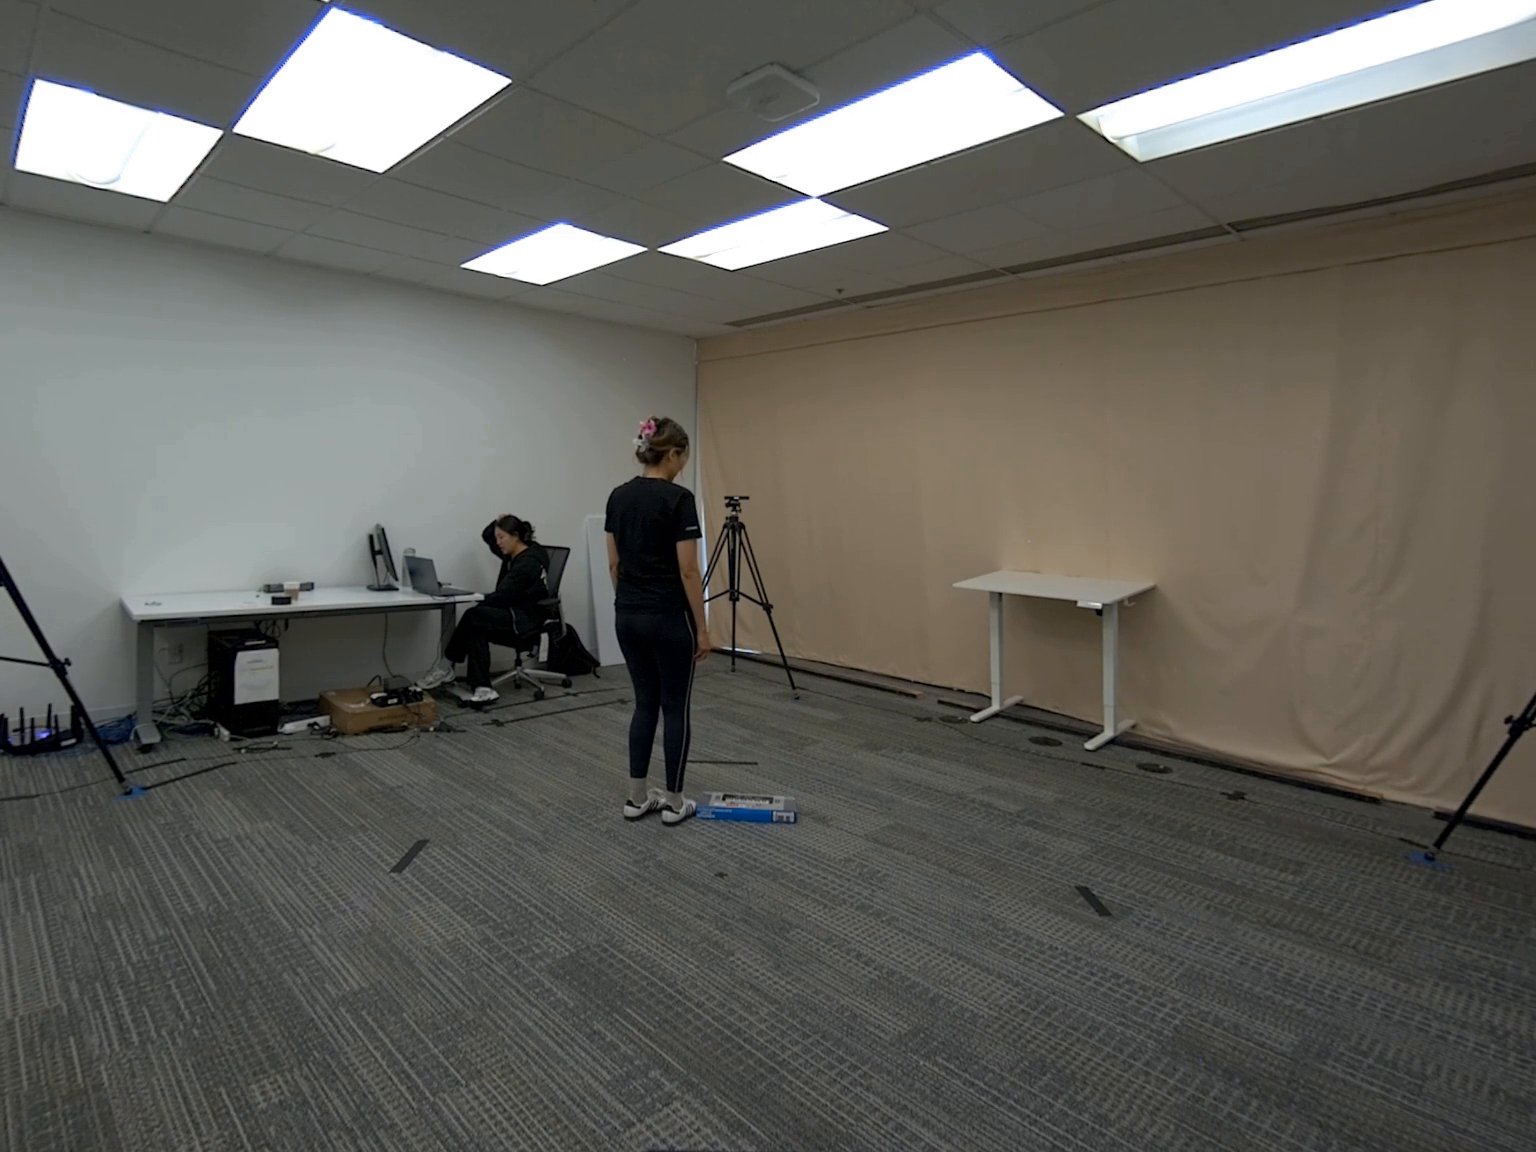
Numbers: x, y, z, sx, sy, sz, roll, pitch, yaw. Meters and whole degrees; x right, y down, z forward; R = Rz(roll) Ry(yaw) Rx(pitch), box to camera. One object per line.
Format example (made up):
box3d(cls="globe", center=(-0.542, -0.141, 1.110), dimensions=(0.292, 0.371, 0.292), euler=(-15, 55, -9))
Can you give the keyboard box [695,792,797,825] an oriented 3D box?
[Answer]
box3d(cls="keyboard box", center=(-0.103, 1.022, 3.718), dimensions=(0.439, 0.059, 0.176), euler=(2, 6, 5))
